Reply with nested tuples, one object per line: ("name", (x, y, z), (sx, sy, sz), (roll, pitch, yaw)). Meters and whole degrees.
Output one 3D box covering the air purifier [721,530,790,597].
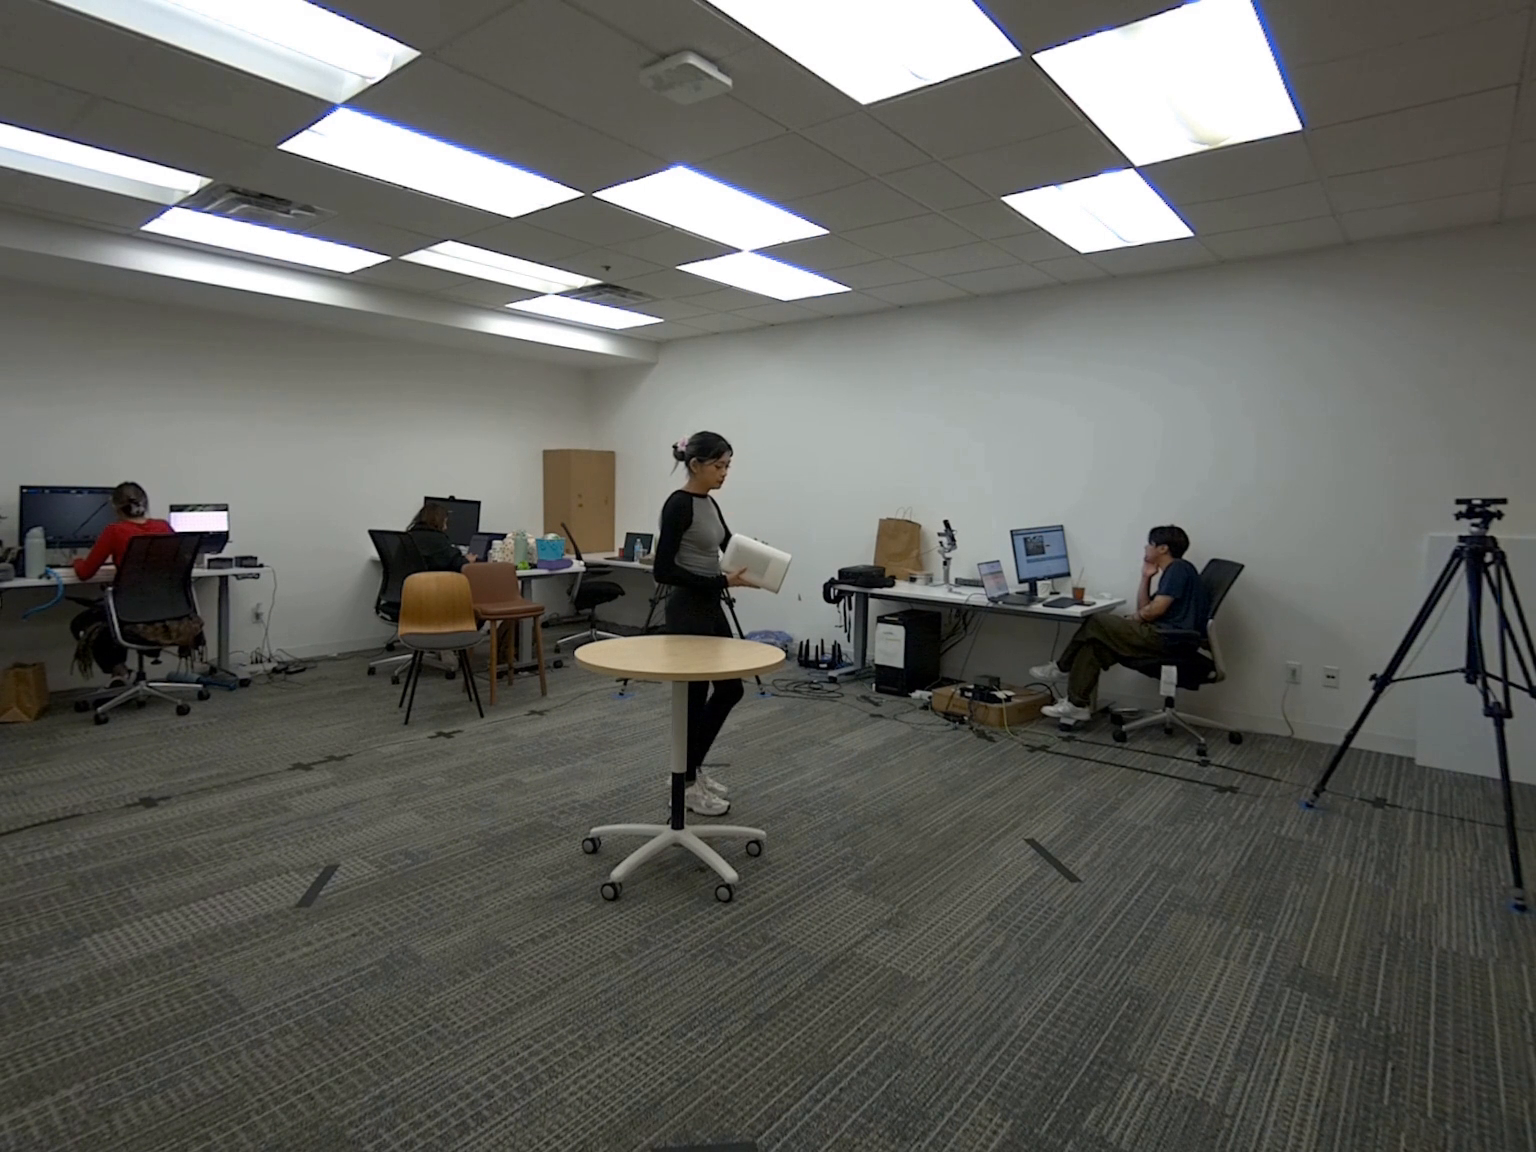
("air purifier", (-0.069, -0.058, 3.526), (0.265, 0.171, 0.172), (22, 7, -1))
